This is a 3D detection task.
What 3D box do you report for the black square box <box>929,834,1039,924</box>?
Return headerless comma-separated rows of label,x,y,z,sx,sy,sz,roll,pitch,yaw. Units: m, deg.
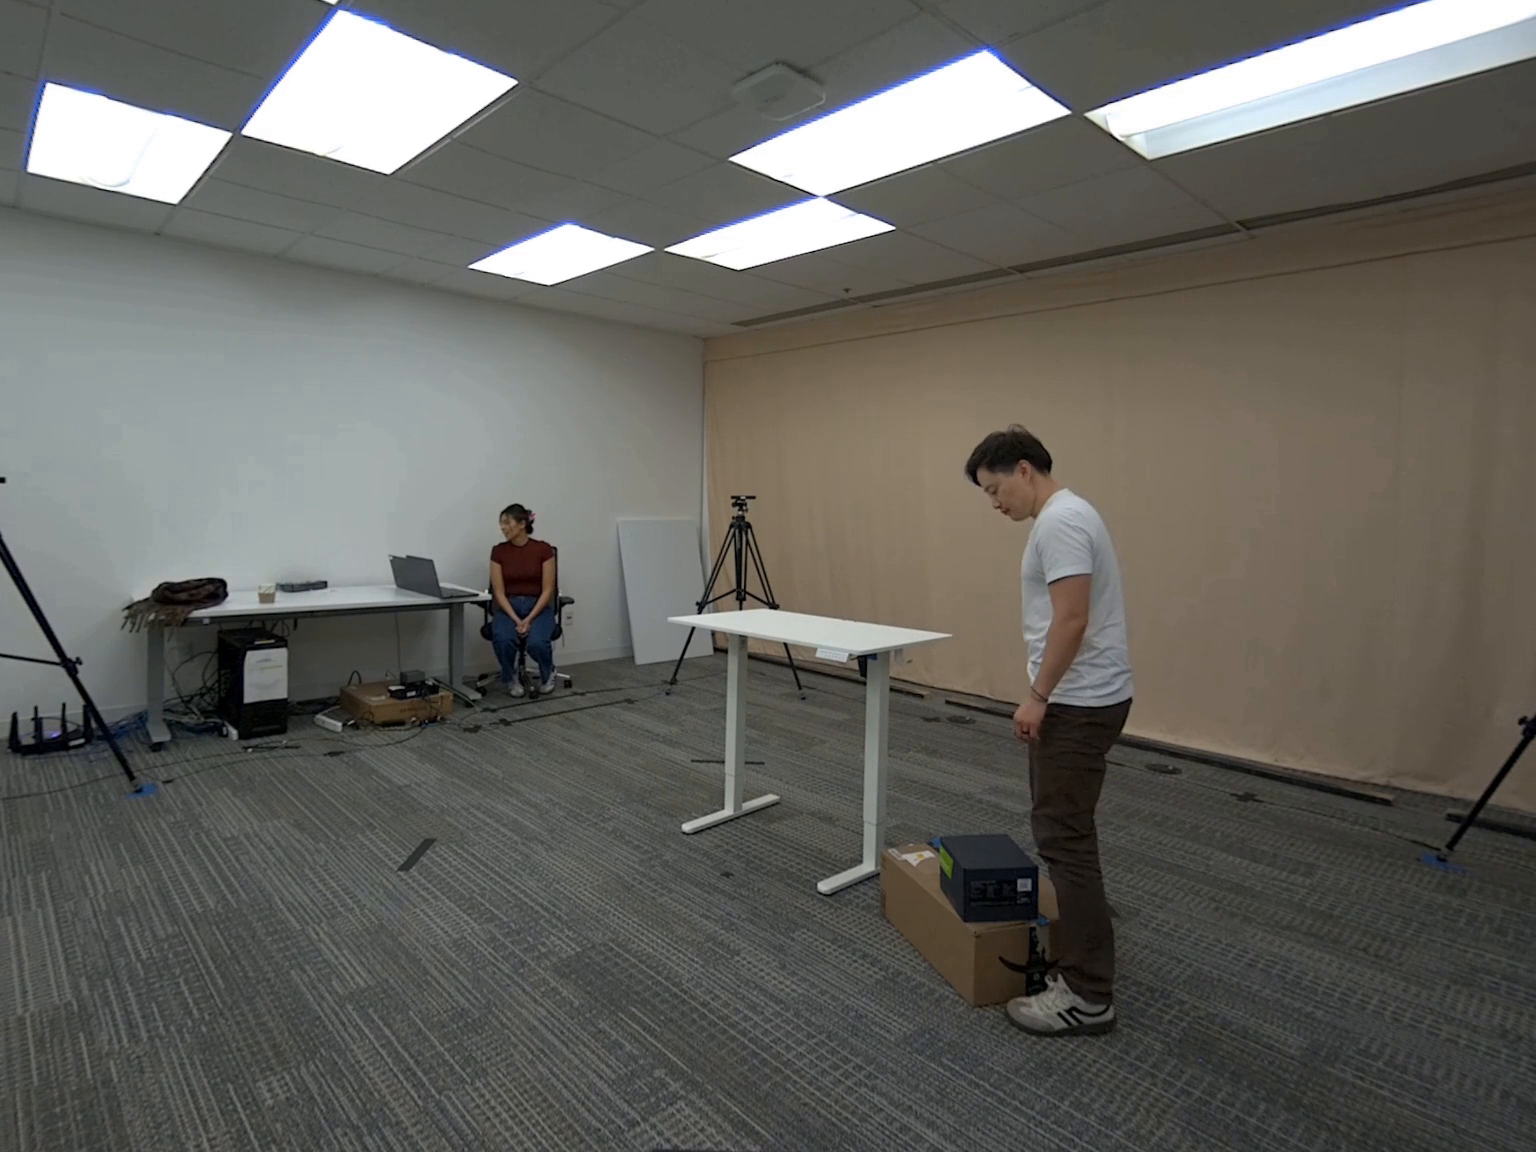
black square box,0.636,0.880,2.466,0.216,0.155,0.229,0,4,-6
